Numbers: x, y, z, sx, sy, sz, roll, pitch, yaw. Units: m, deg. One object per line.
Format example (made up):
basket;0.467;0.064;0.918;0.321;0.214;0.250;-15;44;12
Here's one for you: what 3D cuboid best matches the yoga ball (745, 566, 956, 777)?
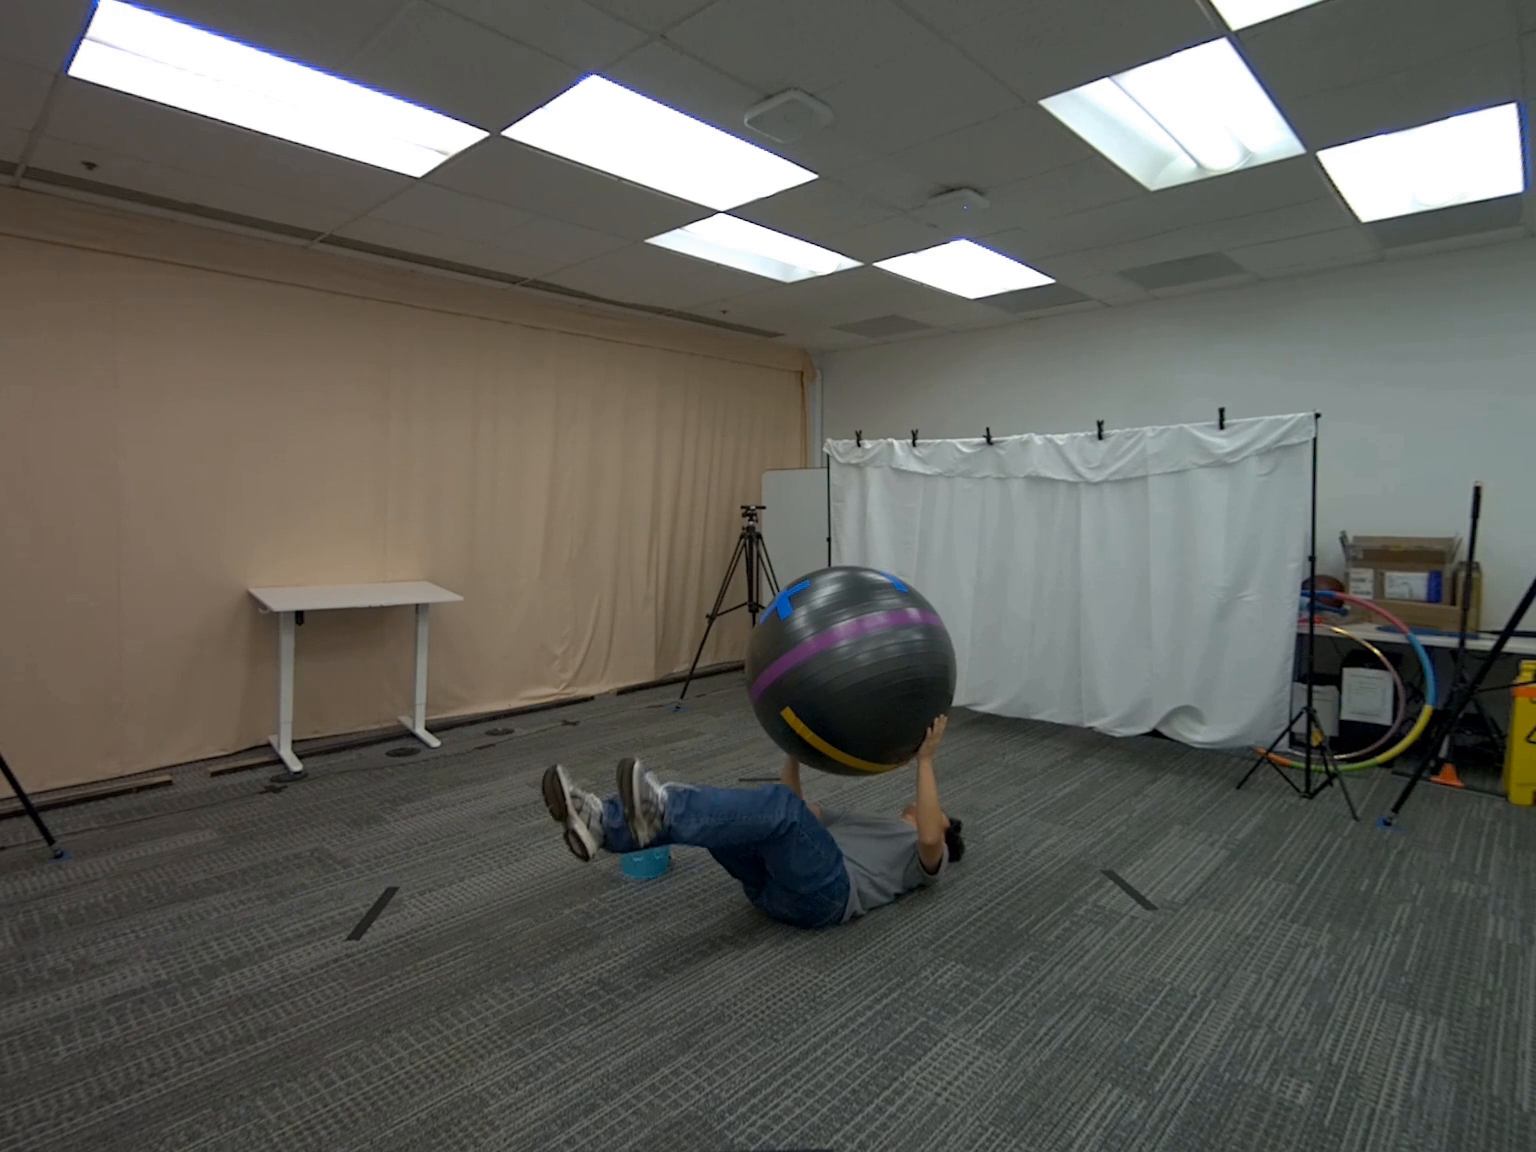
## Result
yoga ball;0.298;0.348;3.091;0.757;0.756;0.760;0;4;-2
